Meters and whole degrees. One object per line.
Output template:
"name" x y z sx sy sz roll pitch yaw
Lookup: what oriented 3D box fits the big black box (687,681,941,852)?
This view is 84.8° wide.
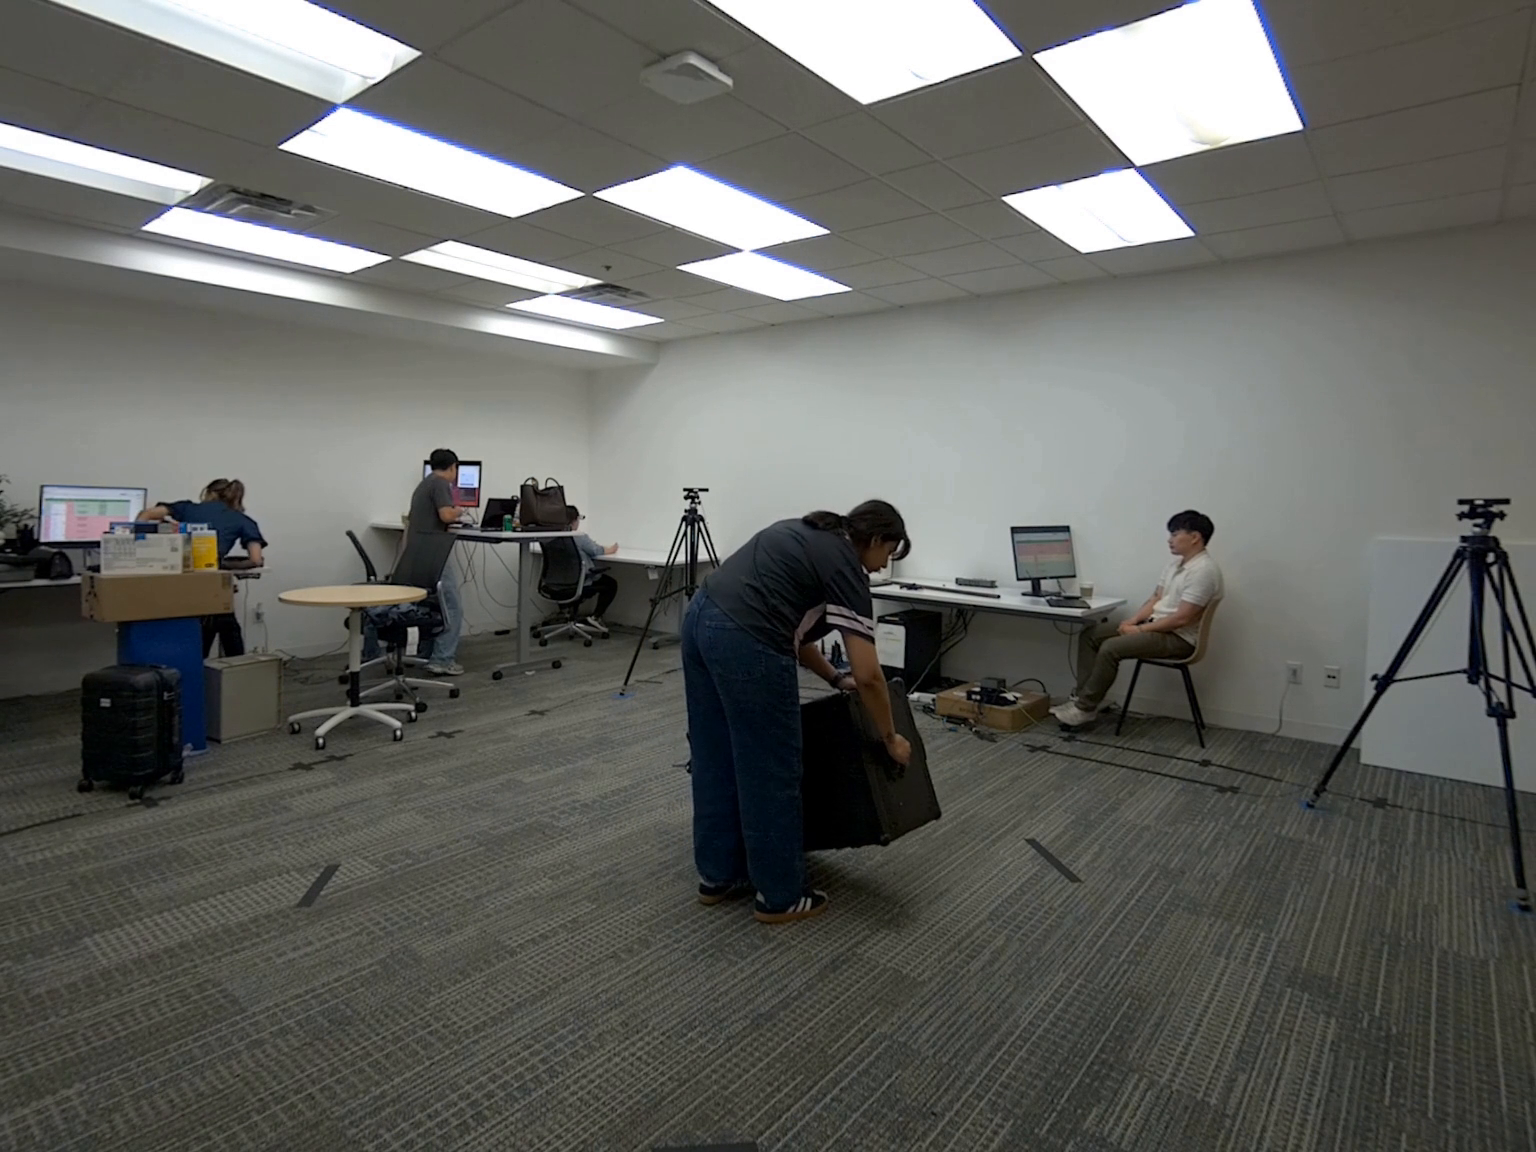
"big black box" 0.107 0.710 3.118 0.883 0.530 0.374 -23 -11 40
